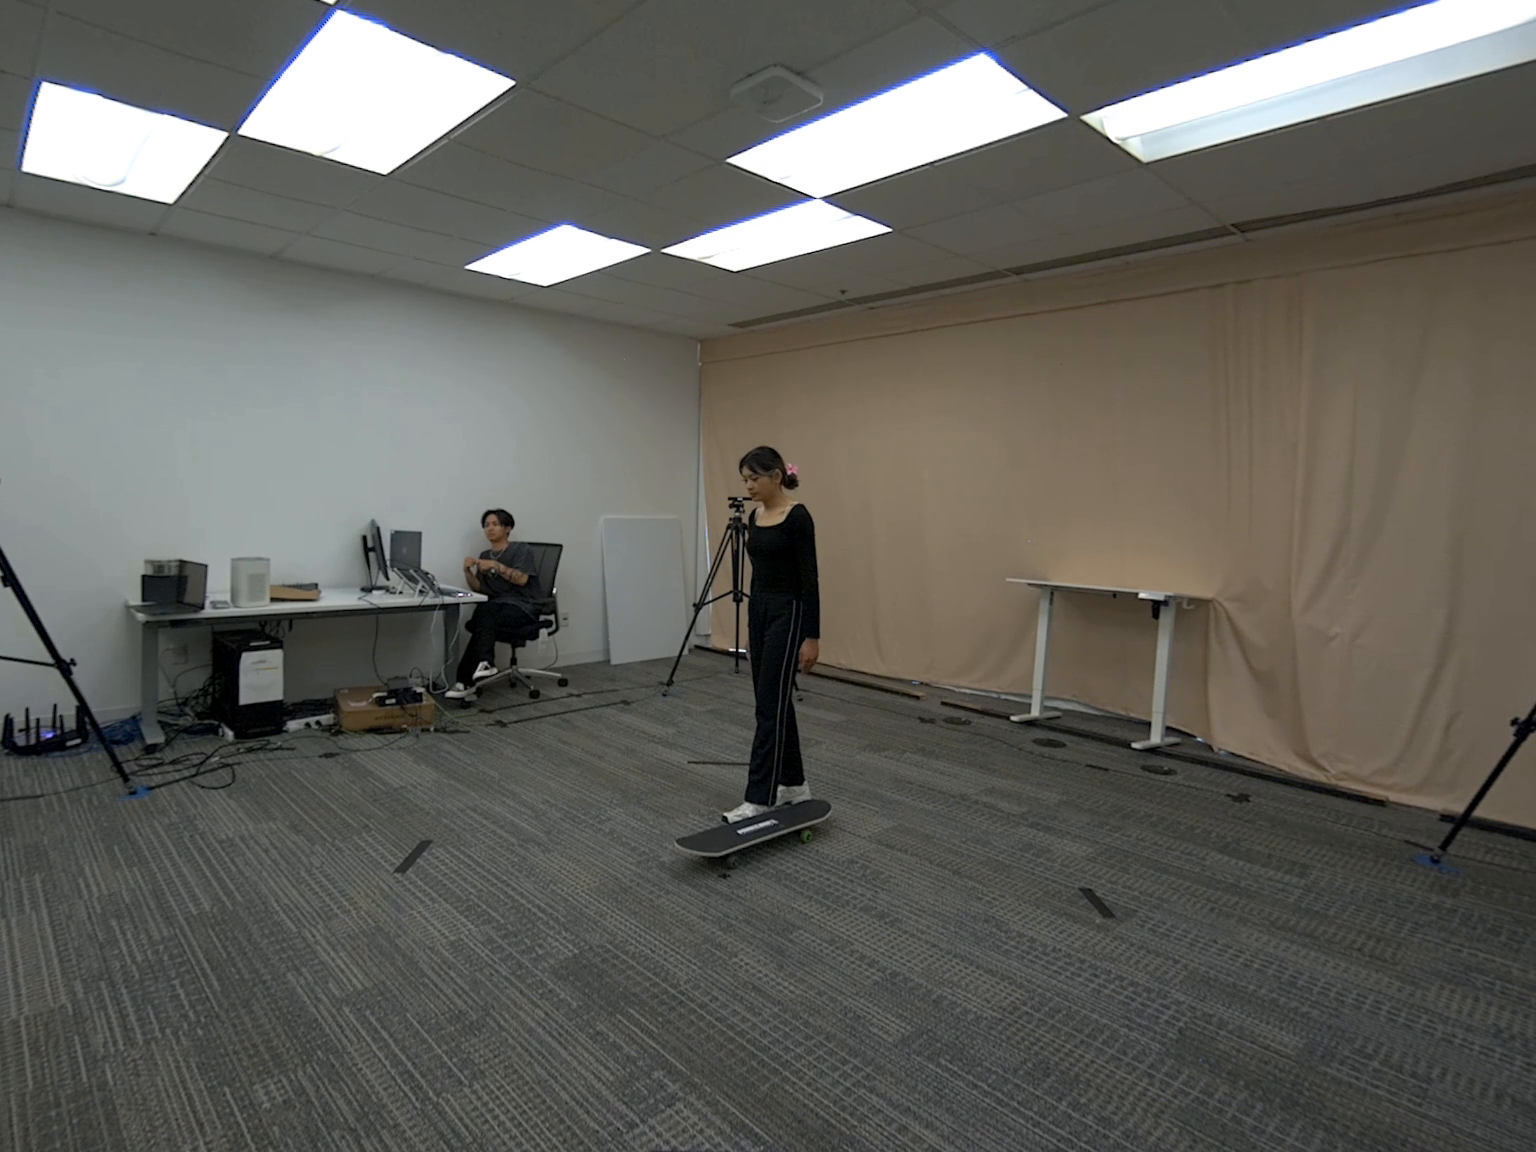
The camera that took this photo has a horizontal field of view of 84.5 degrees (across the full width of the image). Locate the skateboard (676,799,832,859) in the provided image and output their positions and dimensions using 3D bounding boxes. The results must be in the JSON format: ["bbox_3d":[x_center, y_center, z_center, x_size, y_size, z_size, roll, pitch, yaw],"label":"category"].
[{"bbox_3d":[-0.044,1.033,3.355,0.768,0.110,0.198,-4,7,-43],"label":"skateboard"}]
